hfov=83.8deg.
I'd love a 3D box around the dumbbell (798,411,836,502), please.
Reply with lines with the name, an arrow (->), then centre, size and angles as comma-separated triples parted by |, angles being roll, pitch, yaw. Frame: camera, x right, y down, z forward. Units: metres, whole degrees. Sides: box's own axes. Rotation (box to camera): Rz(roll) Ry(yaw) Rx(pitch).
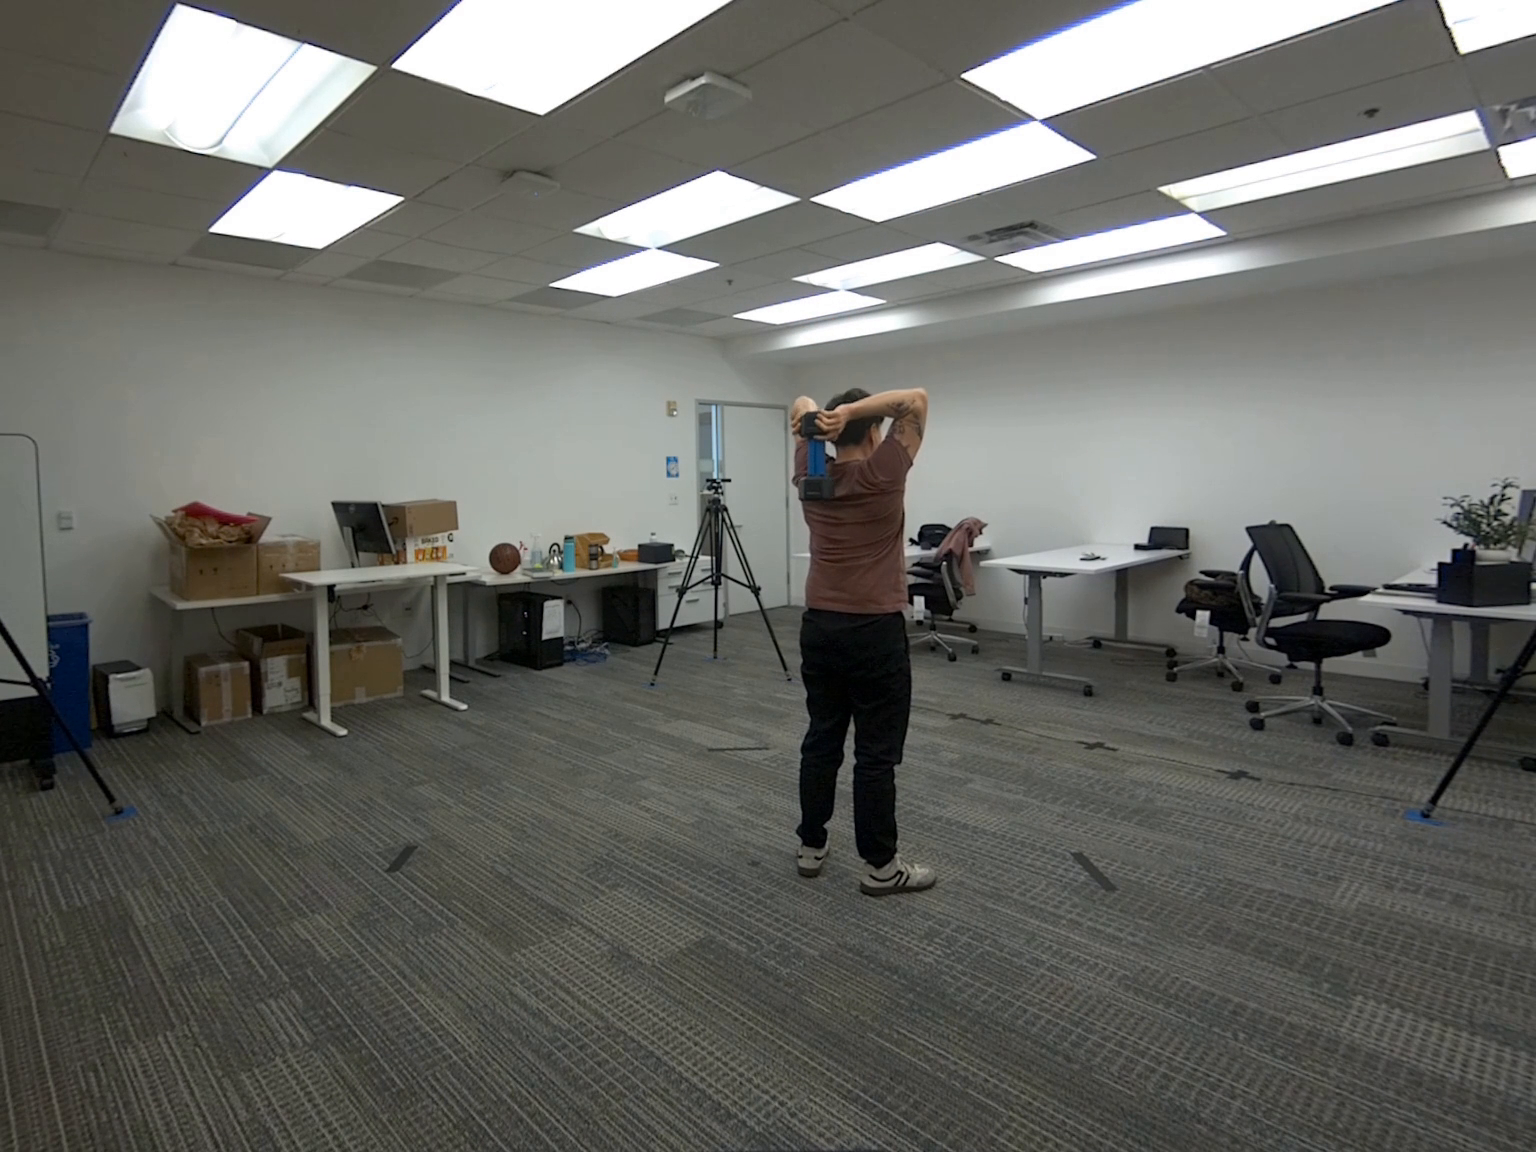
dumbbell -> 0.168, -0.396, 2.810 | 0.119, 0.294, 0.112 | 2, -1, -42
